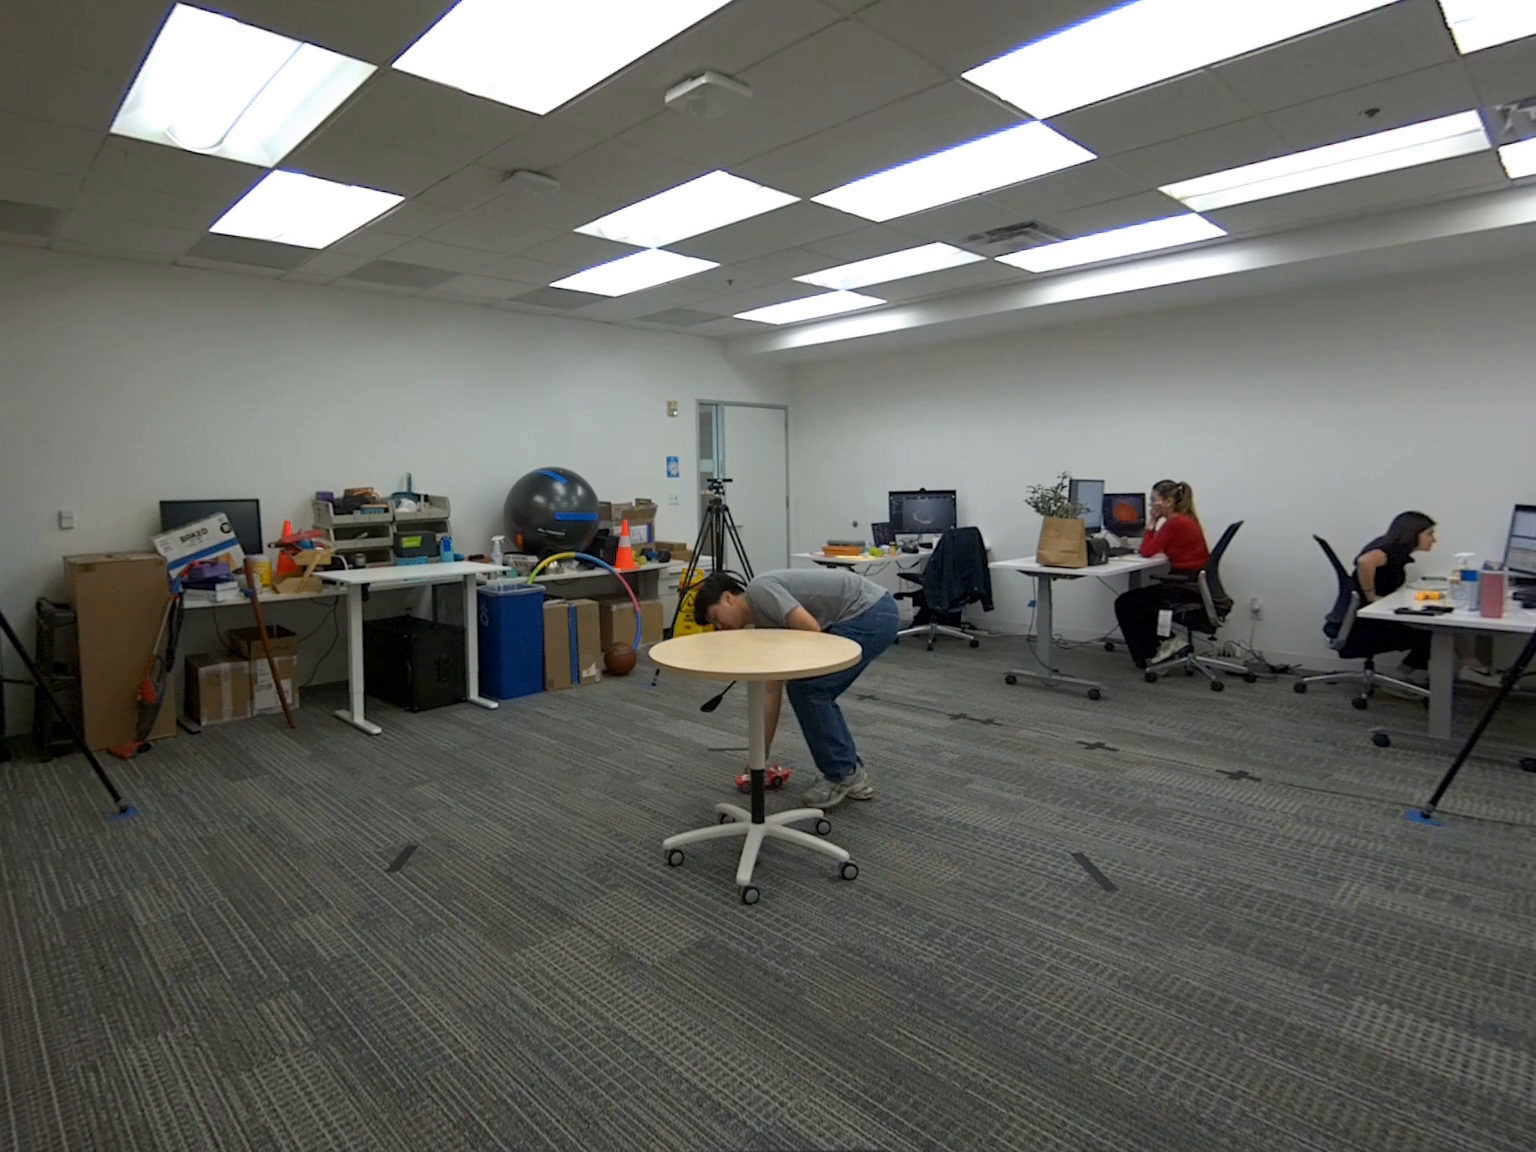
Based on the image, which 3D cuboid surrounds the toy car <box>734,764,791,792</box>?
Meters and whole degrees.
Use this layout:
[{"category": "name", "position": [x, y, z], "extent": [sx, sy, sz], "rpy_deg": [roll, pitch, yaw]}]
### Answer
[{"category": "toy car", "position": [-0.018, 0.924, 3.874], "extent": [0.253, 0.083, 0.132], "rpy_deg": [-17, 6, -9]}]
